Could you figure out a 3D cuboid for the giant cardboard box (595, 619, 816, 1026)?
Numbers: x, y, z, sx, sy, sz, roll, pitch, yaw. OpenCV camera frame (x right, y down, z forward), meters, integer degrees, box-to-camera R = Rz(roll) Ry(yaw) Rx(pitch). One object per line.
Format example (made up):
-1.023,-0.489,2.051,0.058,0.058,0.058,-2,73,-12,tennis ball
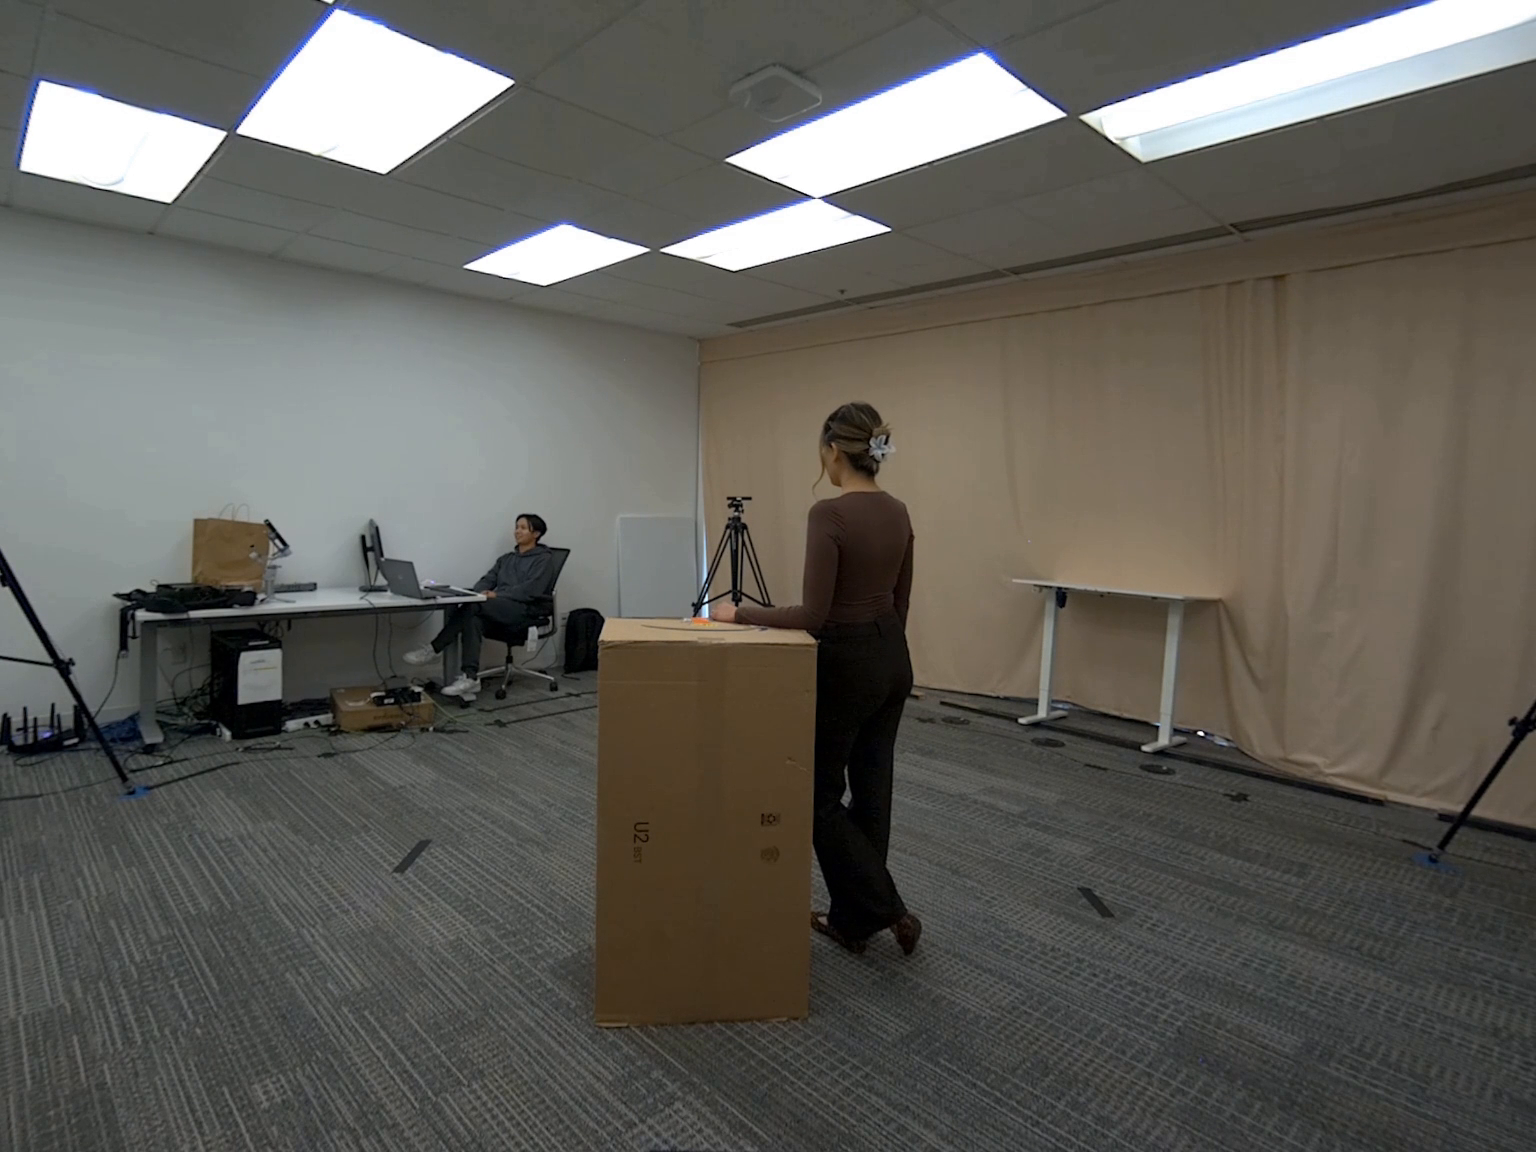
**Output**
-0.203,0.660,2.409,0.580,1.024,0.450,1,3,-7,giant cardboard box
